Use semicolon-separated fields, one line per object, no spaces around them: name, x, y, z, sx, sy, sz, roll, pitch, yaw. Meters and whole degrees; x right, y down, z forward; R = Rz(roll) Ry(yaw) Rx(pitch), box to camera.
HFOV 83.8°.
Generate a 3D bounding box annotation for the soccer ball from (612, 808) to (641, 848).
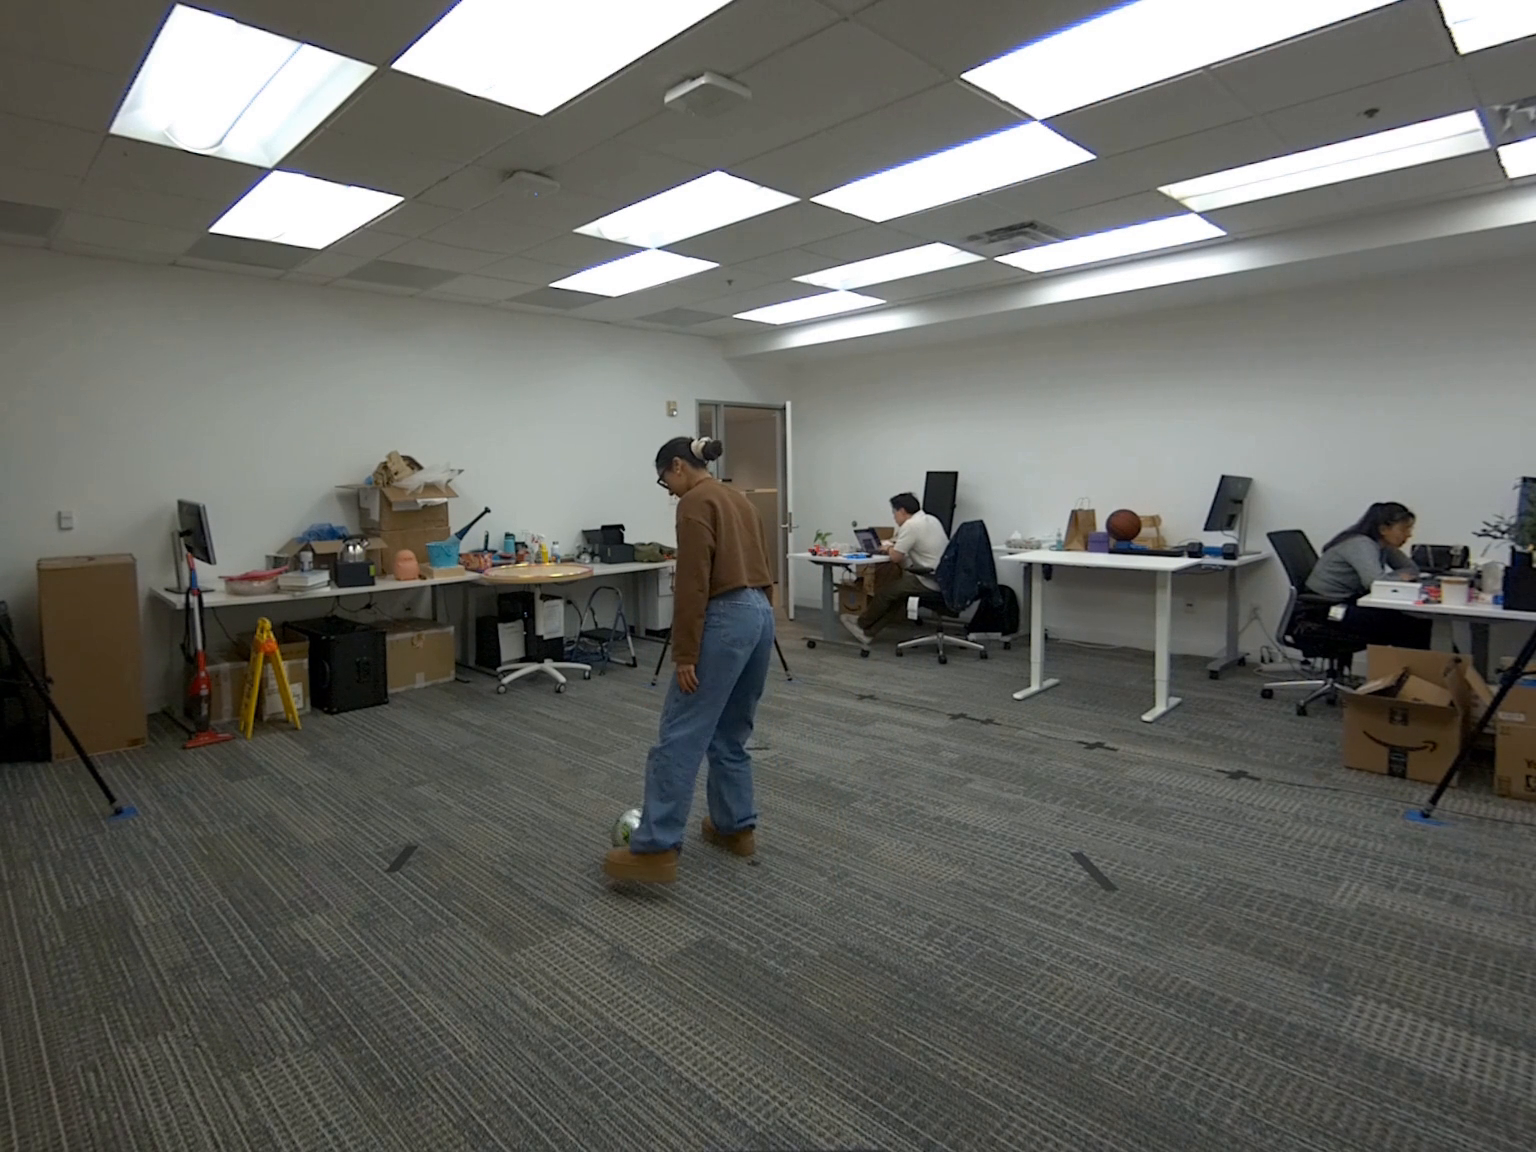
soccer ball;-0.477;0.952;3.147;0.187;0.187;0.188;-1;5;-2
